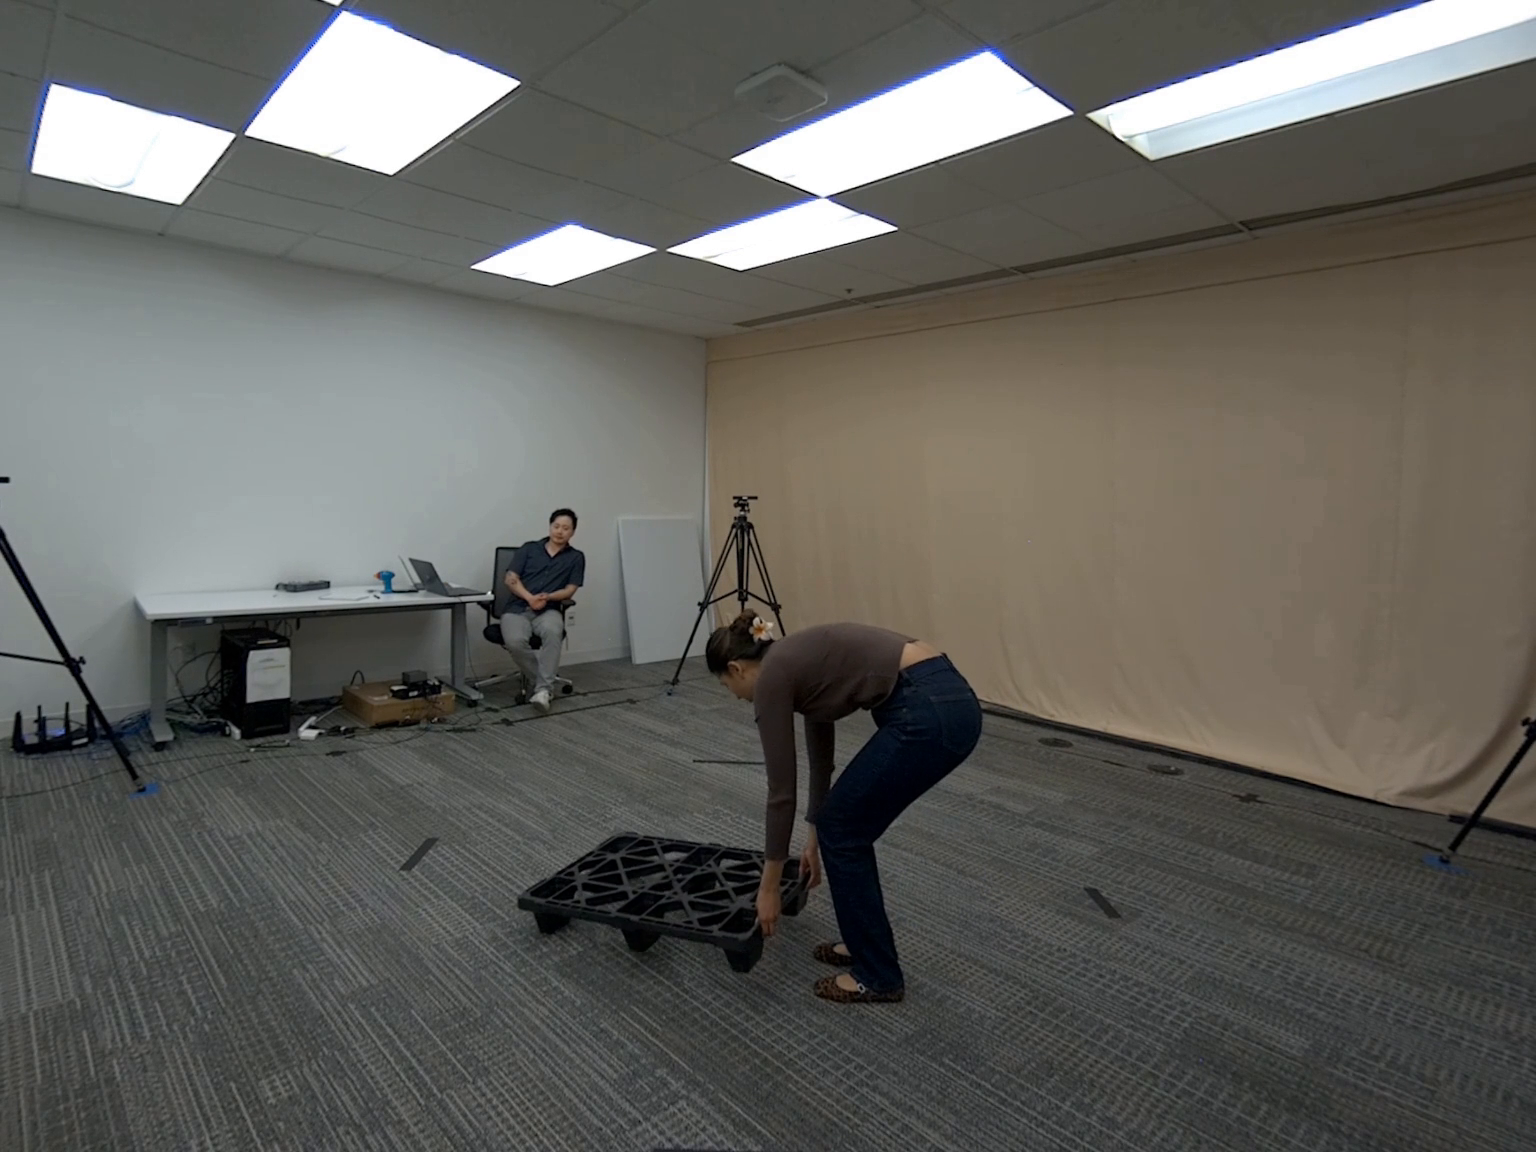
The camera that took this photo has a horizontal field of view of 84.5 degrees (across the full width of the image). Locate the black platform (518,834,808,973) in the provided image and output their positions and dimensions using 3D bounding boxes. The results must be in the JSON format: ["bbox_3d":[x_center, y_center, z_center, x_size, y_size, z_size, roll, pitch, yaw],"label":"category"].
[{"bbox_3d":[-0.308,1.040,2.715,0.820,0.143,0.596,-2,5,25],"label":"black platform"}]
